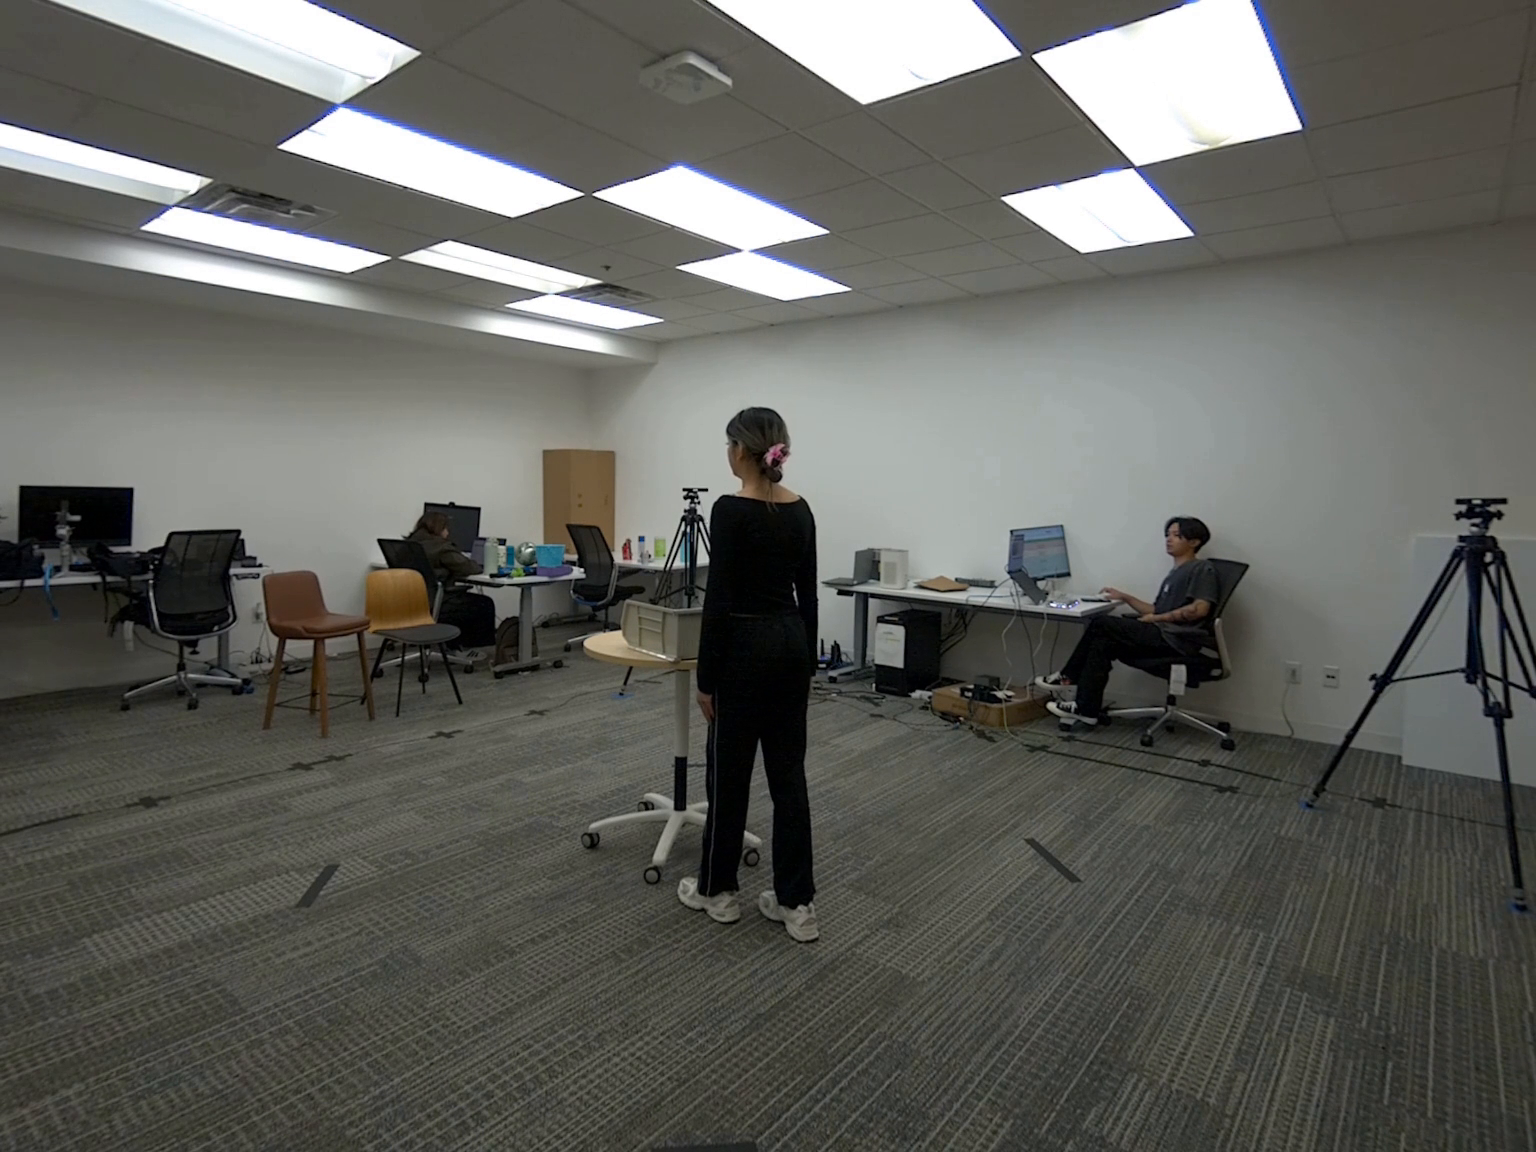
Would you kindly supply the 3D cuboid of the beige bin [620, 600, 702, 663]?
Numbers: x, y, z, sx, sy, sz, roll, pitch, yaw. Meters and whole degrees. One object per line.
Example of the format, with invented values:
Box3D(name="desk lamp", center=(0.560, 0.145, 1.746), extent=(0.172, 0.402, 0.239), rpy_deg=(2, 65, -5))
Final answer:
Box3D(name="beige bin", center=(-0.283, 0.180, 3.150), extent=(0.410, 0.188, 0.390), rpy_deg=(-2, 7, -37))
